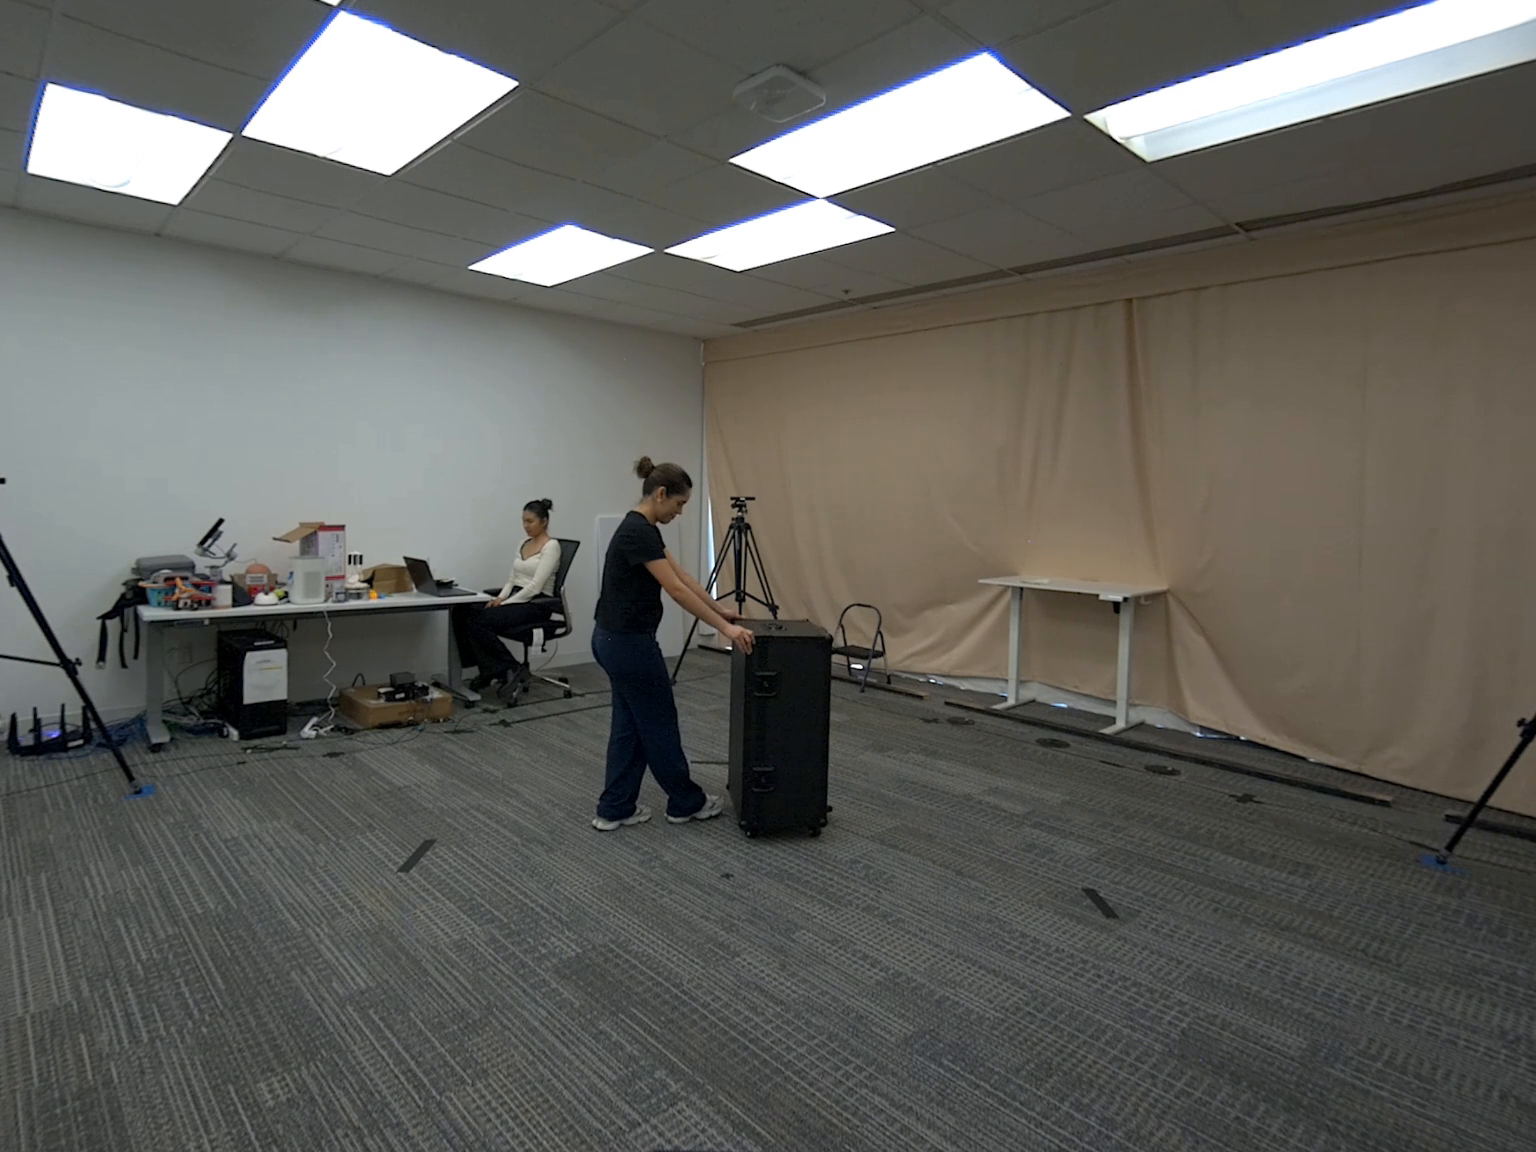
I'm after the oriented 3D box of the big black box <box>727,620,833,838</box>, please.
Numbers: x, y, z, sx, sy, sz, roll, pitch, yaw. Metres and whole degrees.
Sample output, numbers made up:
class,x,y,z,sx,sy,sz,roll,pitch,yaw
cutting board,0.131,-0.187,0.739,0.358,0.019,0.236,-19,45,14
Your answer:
class,x,y,z,sx,sy,sz,roll,pitch,yaw
big black box,0.036,0.643,3.609,0.394,0.860,0.526,1,3,-9
